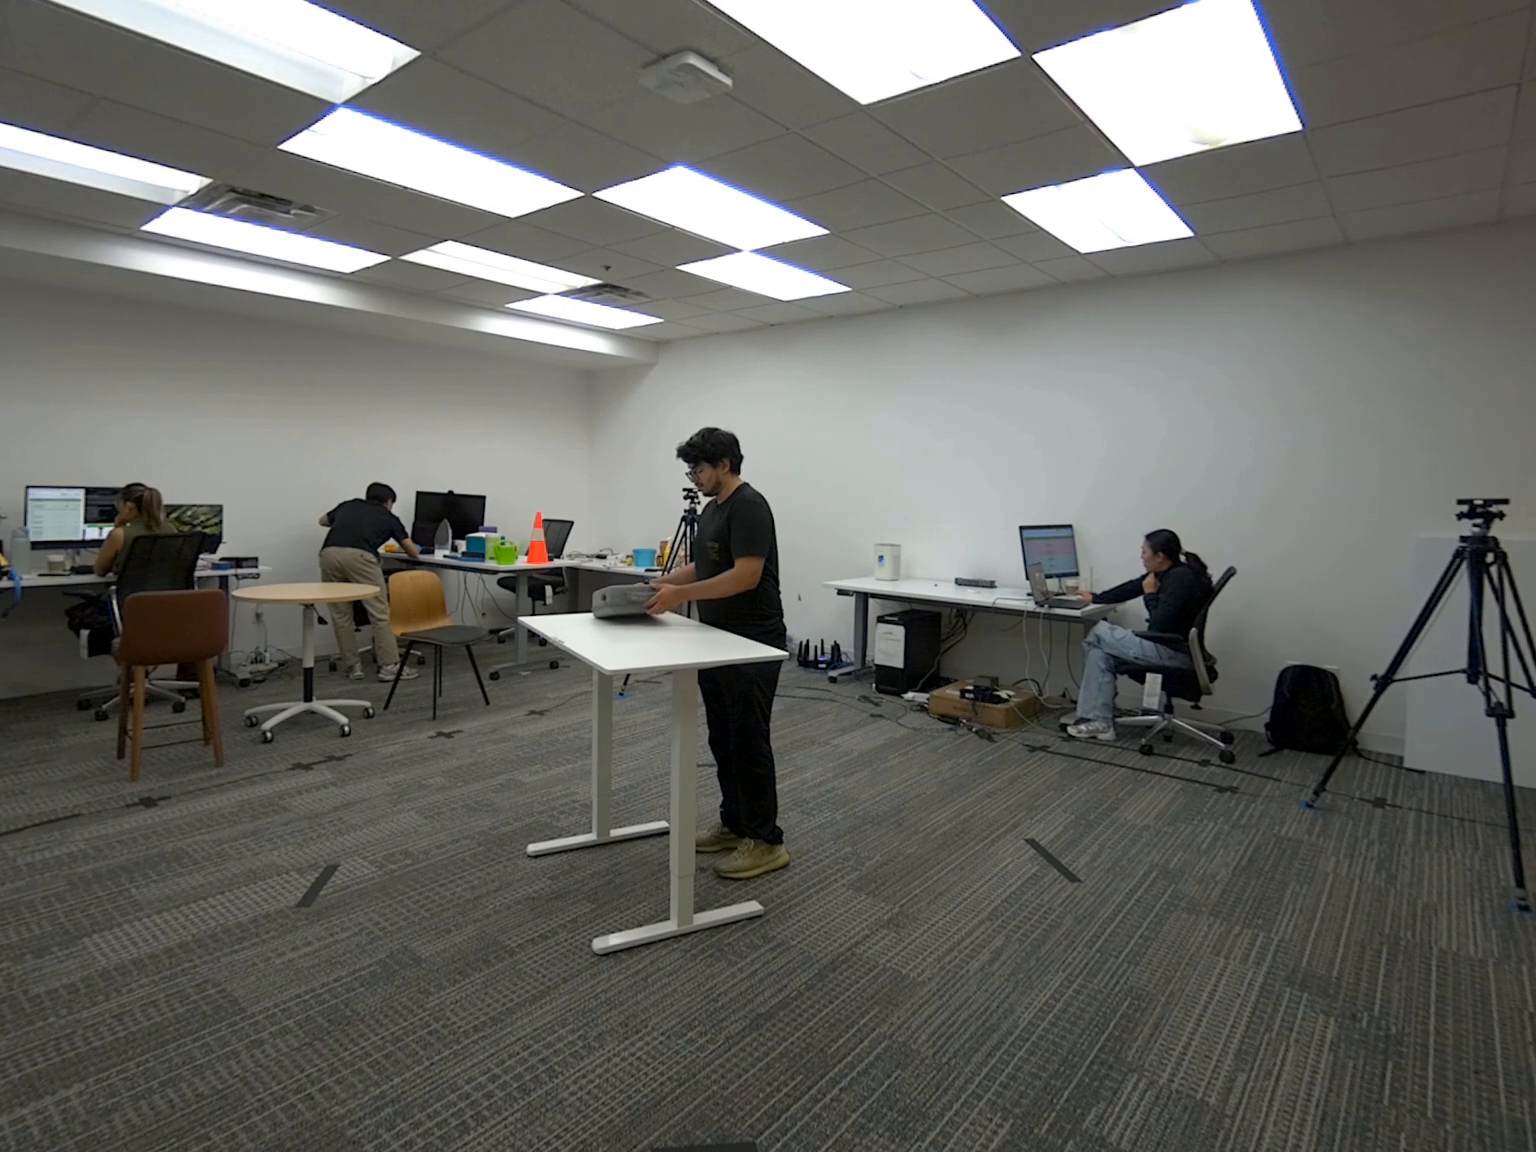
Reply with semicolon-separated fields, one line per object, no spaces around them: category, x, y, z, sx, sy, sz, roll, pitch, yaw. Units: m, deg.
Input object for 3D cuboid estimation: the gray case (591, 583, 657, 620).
gray case;-0.544;0.097;3.256;0.252;0.105;0.264;-3;-4;-20
